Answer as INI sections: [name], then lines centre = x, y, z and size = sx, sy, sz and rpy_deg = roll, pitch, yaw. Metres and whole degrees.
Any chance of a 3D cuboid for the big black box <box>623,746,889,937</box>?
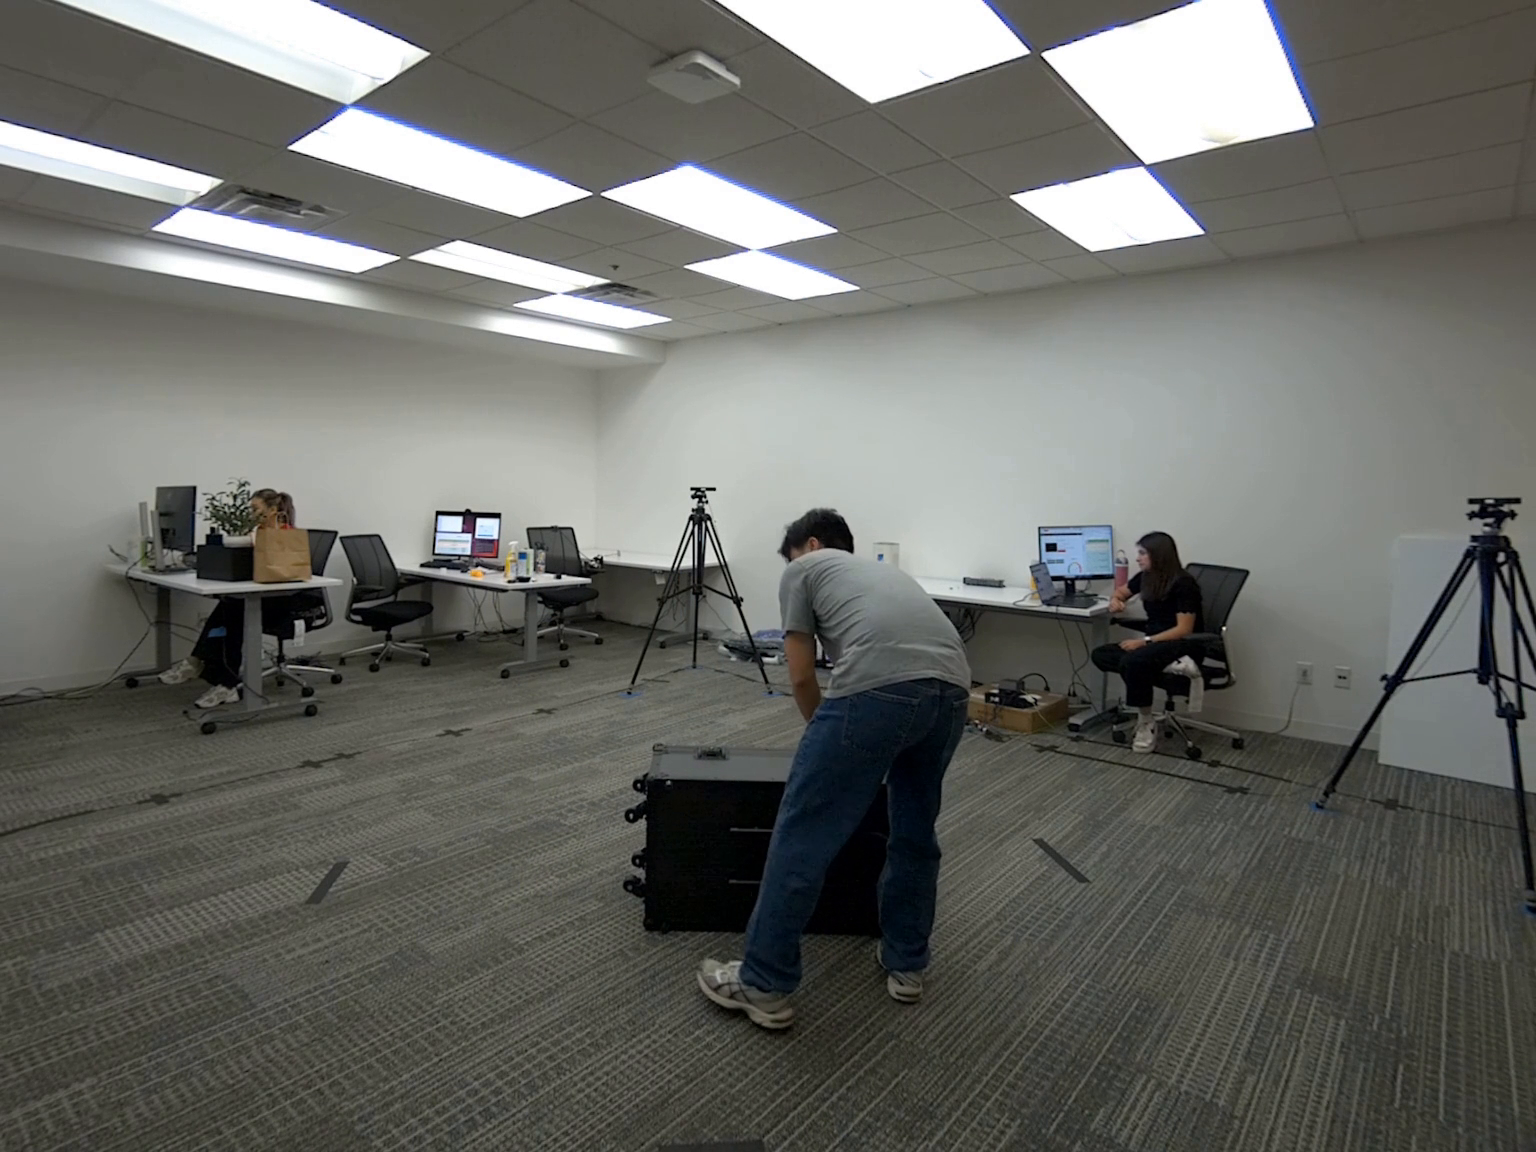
[big black box]
centre = -0.045, 0.856, 2.809
size = 0.861, 0.520, 0.398
rpy_deg = 1, 4, 0
